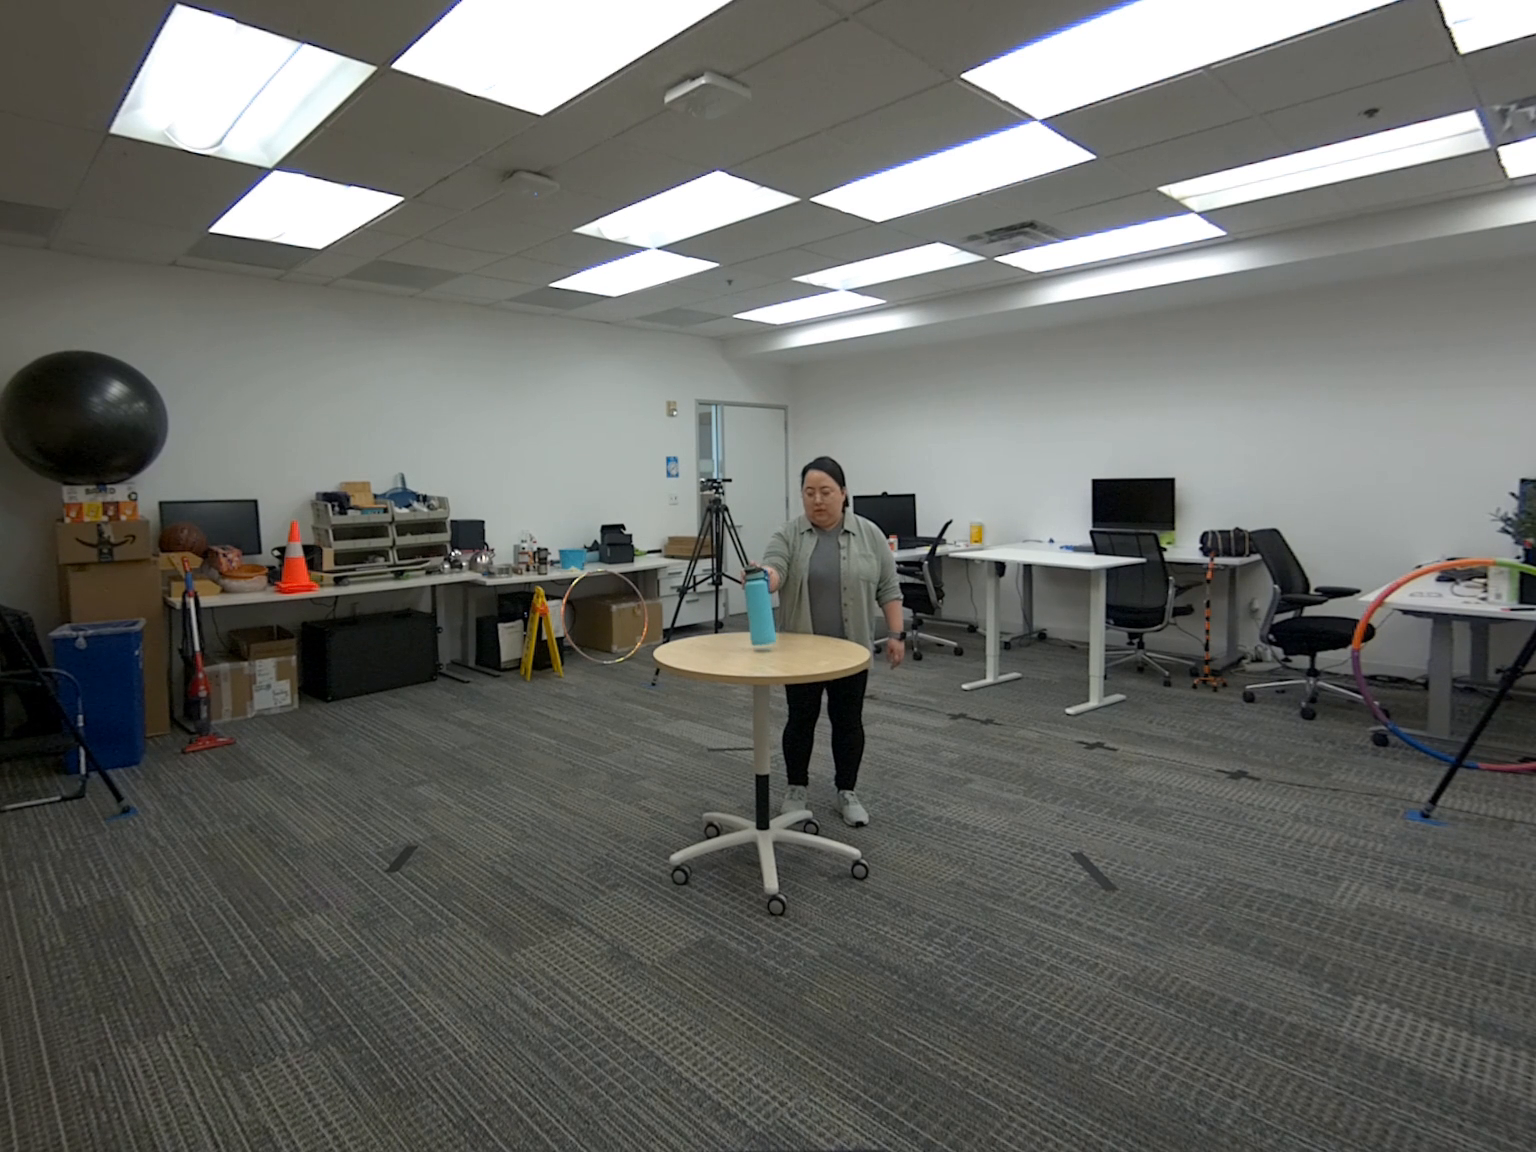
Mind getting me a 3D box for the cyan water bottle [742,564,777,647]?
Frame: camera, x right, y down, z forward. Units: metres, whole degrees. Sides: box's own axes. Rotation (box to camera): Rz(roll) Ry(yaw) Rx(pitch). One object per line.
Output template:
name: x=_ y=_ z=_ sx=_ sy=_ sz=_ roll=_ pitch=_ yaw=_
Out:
cyan water bottle: x=-0.026 y=0.103 z=3.064 sx=0.092 sy=0.285 sz=0.092 roll=-6 pitch=-4 yaw=-2
